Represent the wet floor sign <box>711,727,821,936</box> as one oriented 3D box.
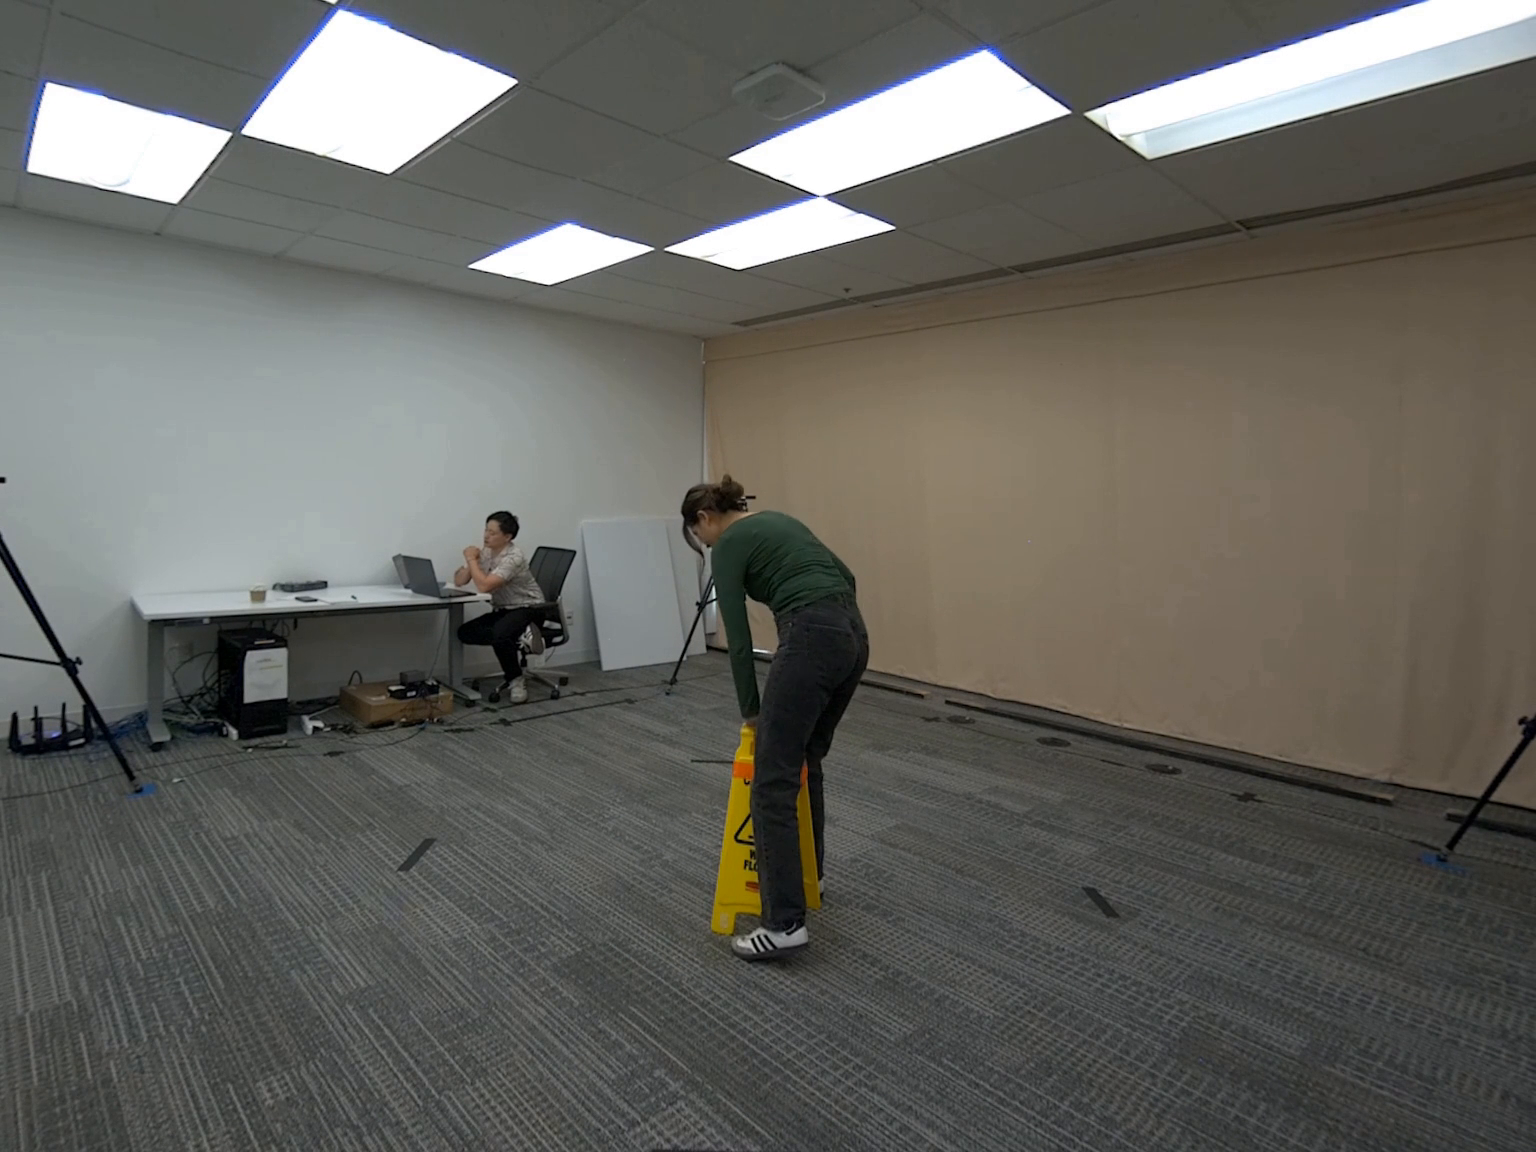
[{"bbox_3d":[-0.002,0.815,2.773,0.287,0.645,0.285,4,3,20],"label":"wet floor sign"}]
